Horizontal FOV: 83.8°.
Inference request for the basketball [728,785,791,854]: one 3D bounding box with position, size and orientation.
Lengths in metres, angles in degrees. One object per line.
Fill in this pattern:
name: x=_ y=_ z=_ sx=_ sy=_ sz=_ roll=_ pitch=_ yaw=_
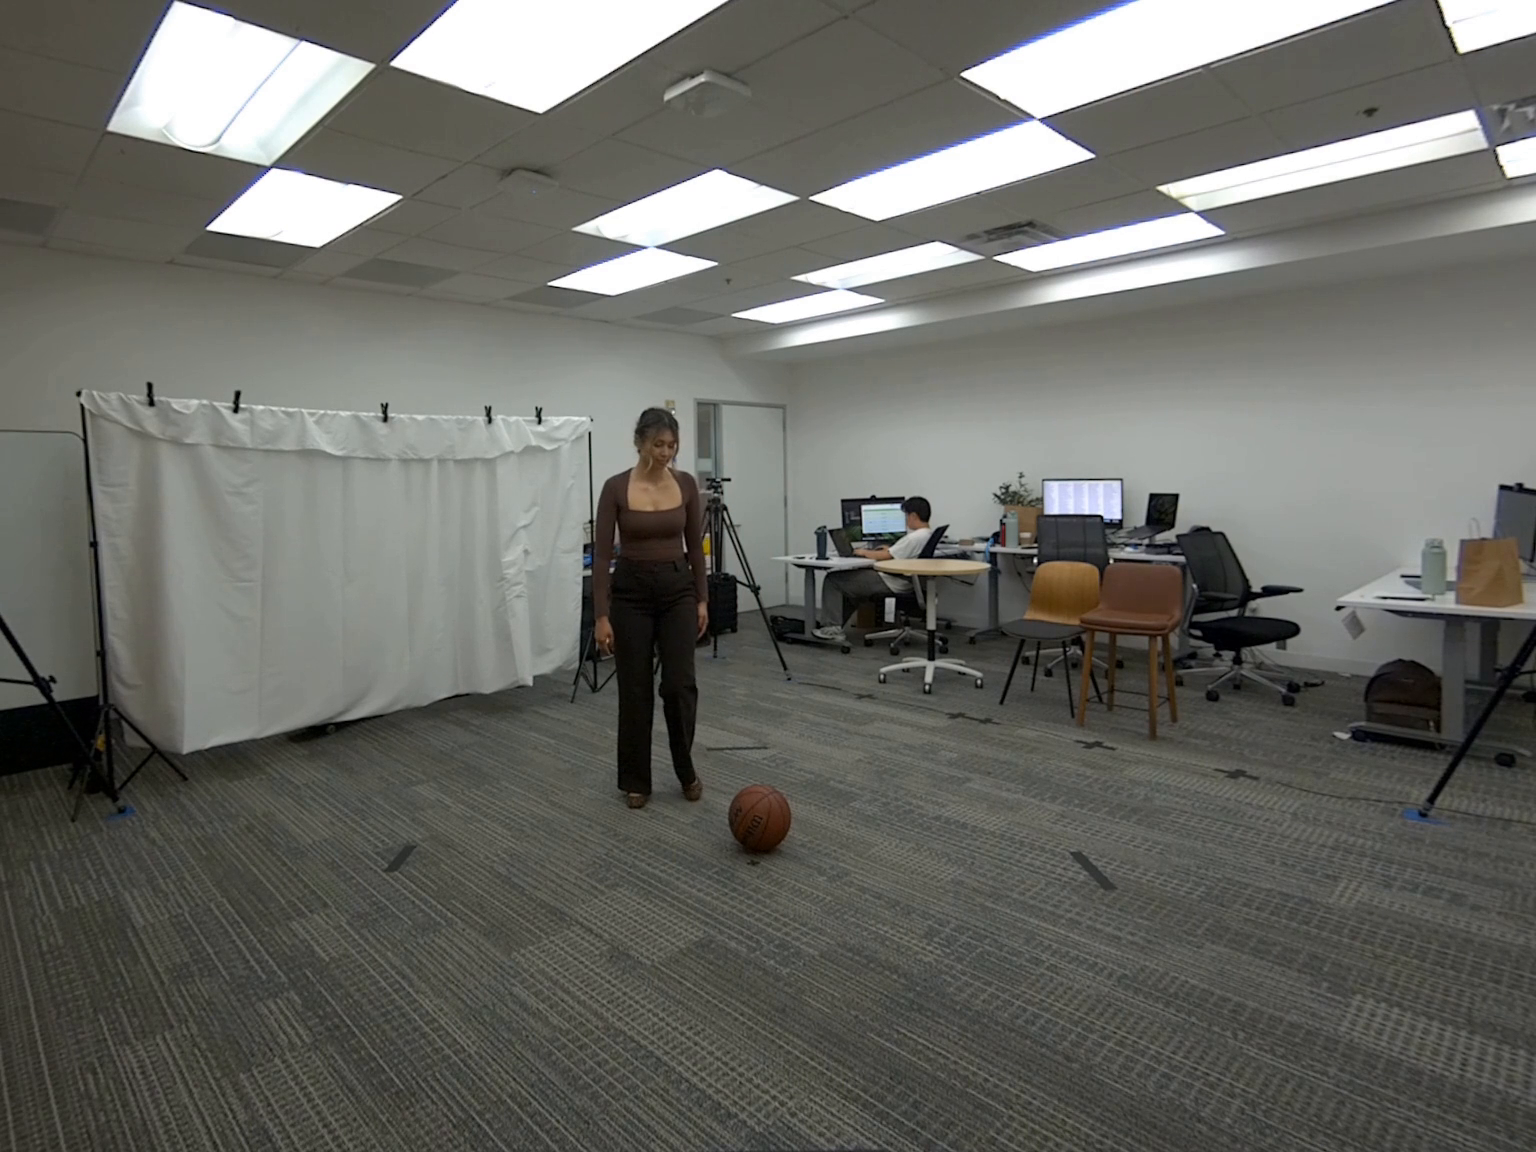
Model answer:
basketball: x=-0.029 y=0.908 z=3.221 sx=0.236 sy=0.235 sz=0.237 roll=-1 pitch=5 yaw=-2
